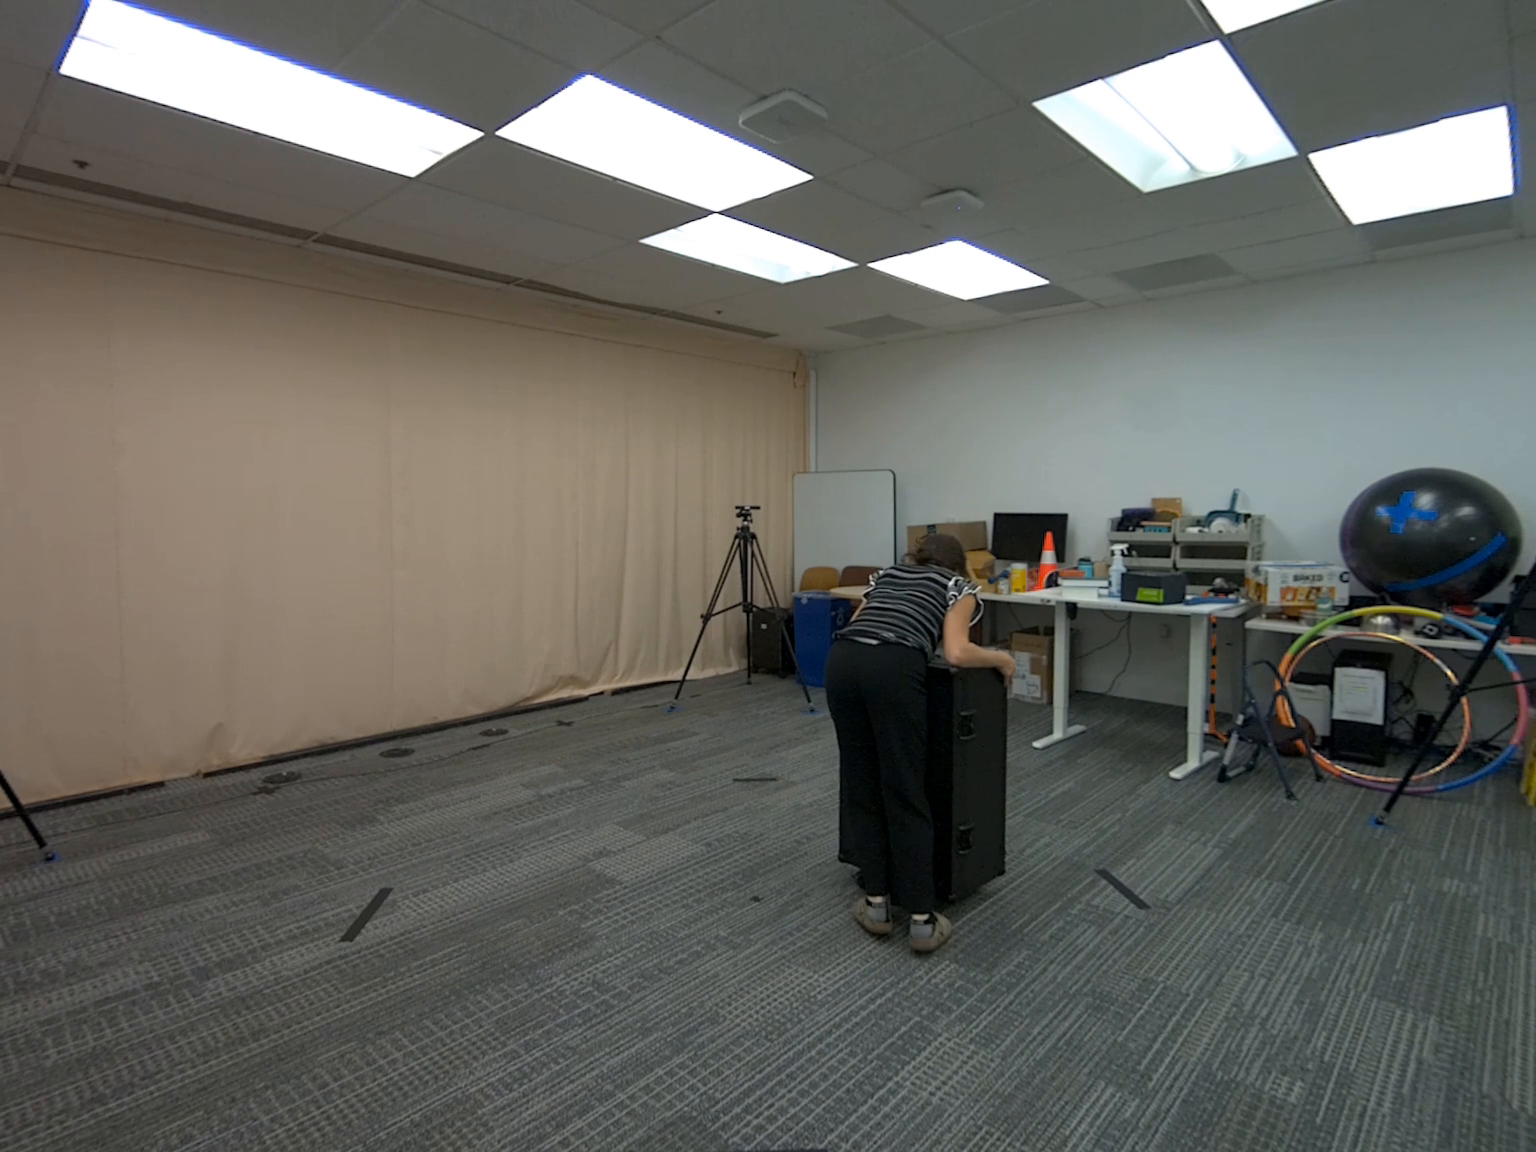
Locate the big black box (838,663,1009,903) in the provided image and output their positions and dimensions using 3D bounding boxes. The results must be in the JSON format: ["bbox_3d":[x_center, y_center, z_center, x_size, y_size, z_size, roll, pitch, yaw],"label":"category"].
[{"bbox_3d":[0.571,0.720,3.082,0.538,0.861,0.383,2,2,44],"label":"big black box"}]
